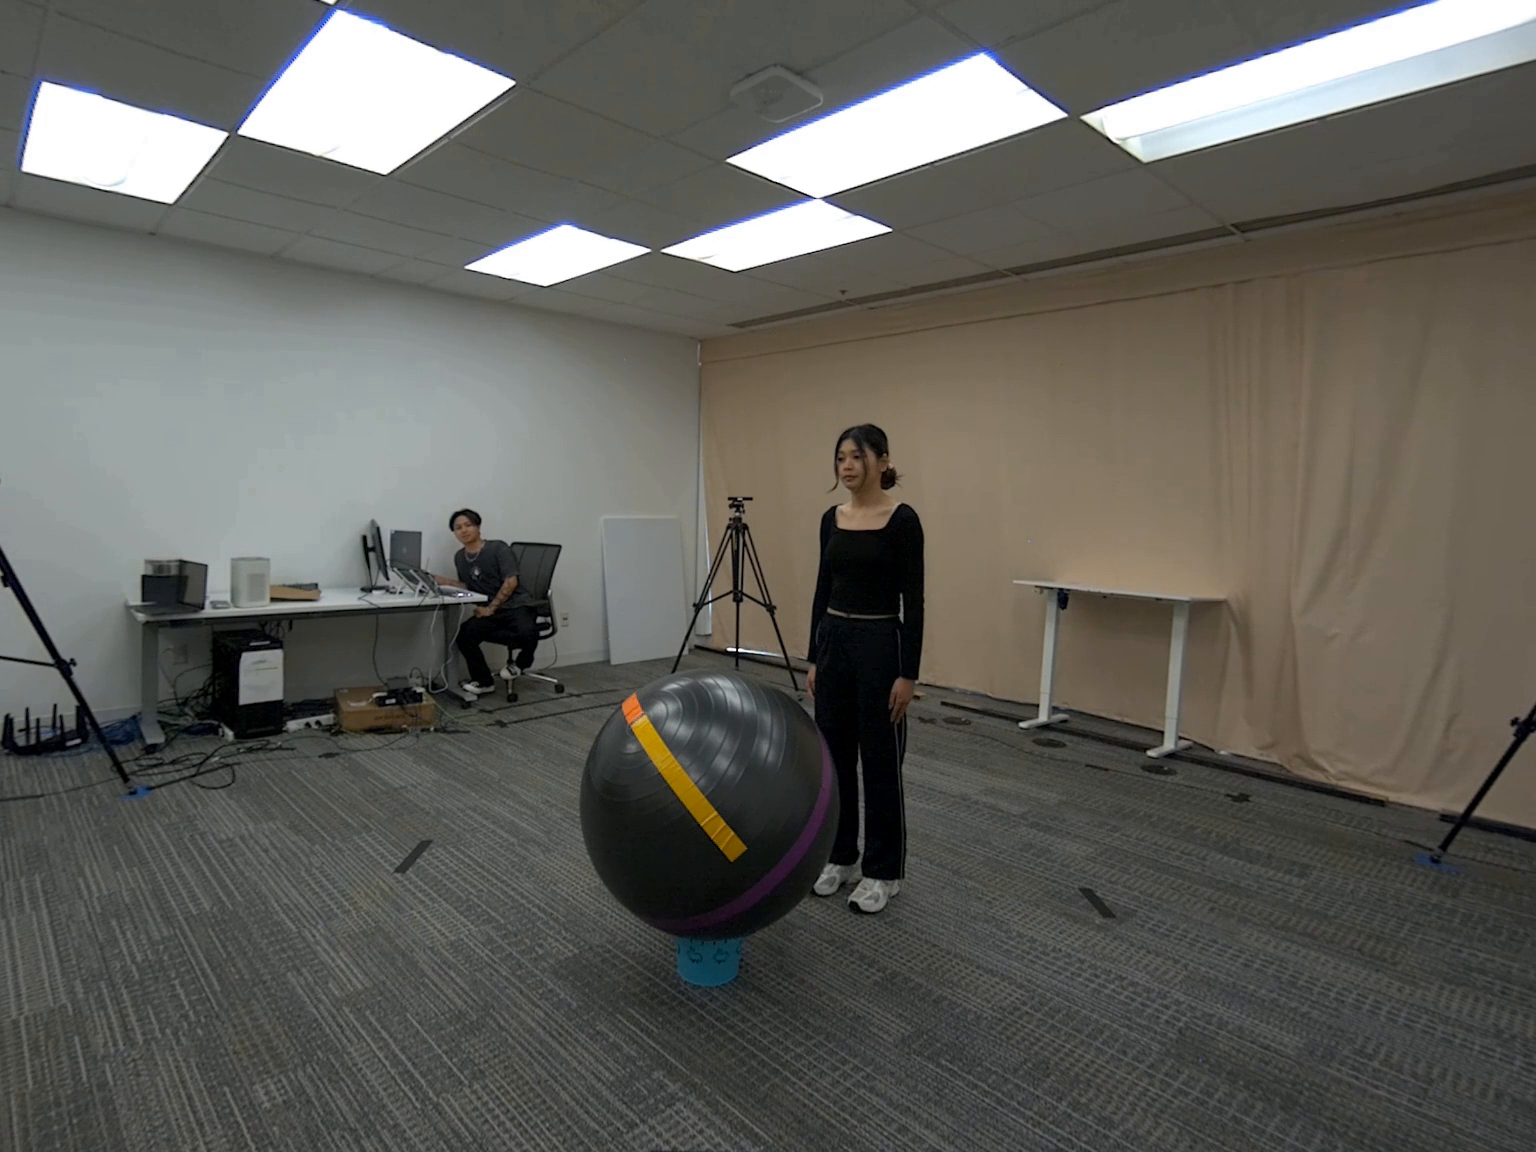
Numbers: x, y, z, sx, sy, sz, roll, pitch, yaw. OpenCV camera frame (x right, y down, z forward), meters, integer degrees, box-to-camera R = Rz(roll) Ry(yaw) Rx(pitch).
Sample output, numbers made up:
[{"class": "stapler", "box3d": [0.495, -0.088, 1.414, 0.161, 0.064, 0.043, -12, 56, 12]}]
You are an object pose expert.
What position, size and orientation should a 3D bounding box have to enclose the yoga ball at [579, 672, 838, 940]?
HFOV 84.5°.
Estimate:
[{"class": "yoga ball", "box3d": [-0.173, 0.654, 2.462, 0.757, 0.756, 0.761, 1, 4, -1]}]
